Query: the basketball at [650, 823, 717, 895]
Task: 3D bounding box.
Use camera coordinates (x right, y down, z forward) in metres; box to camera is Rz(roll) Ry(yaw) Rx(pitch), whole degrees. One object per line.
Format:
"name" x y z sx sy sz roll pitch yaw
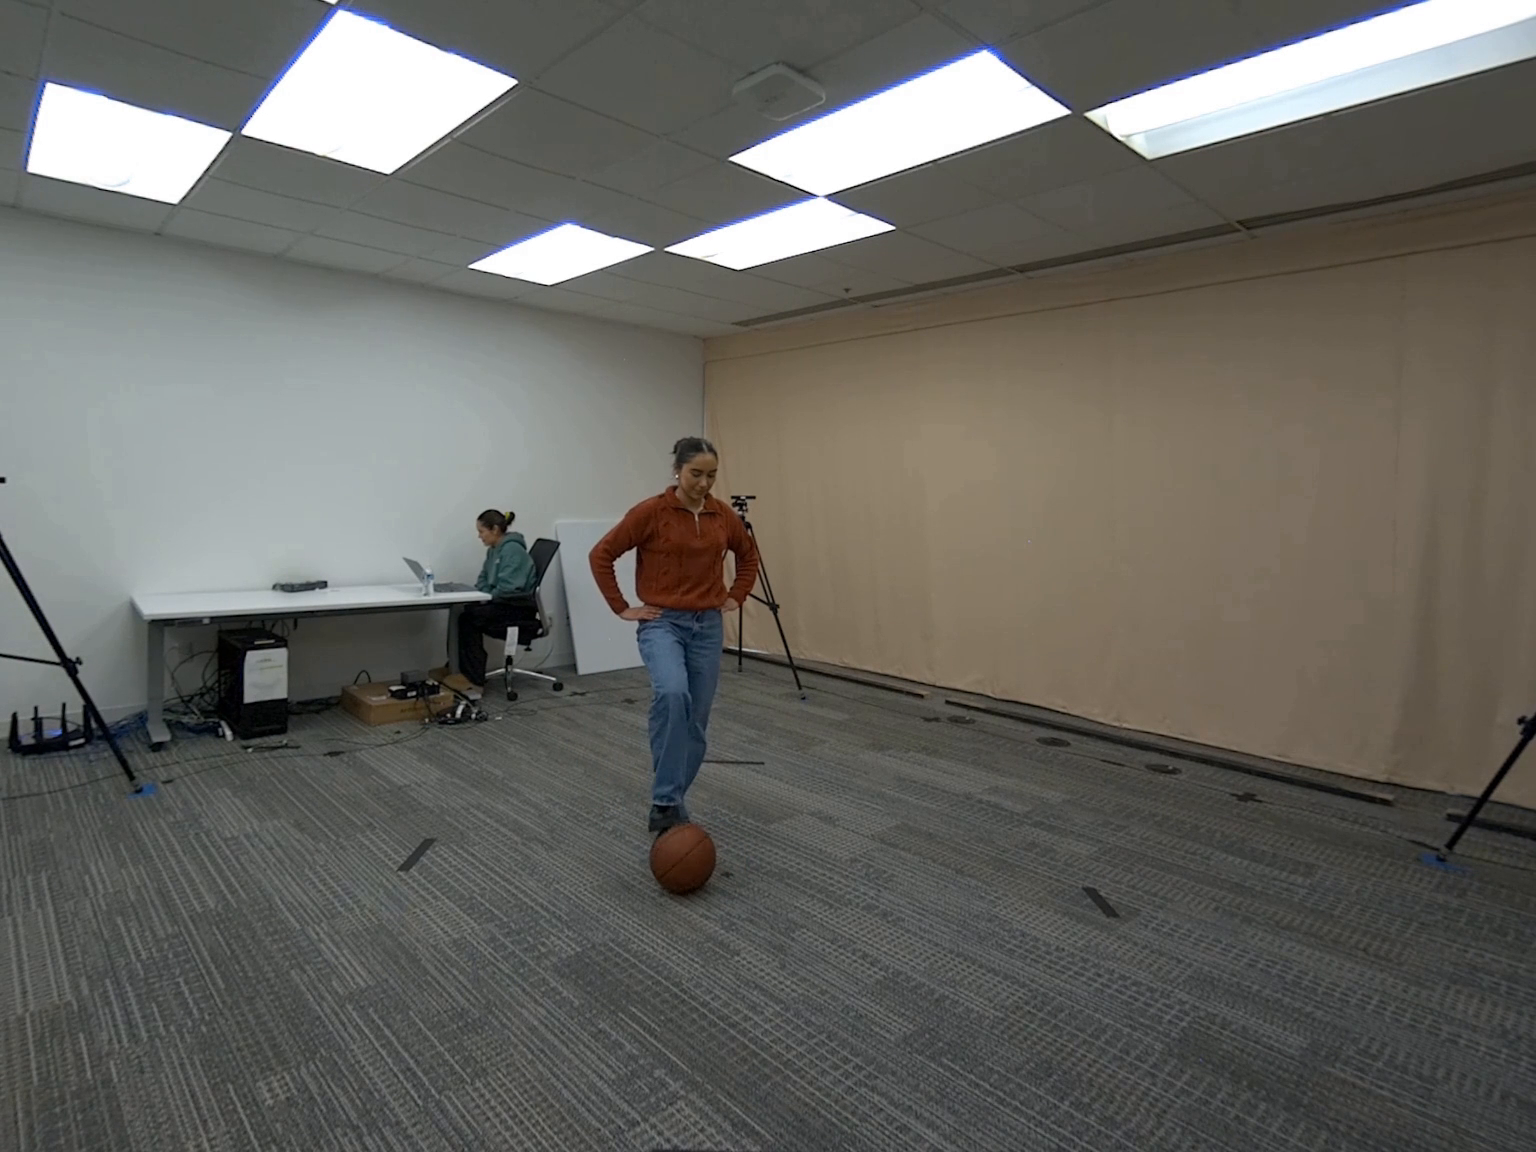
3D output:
"basketball" -0.298 0.994 2.967 0.236 0.235 0.237 1 4 -1
